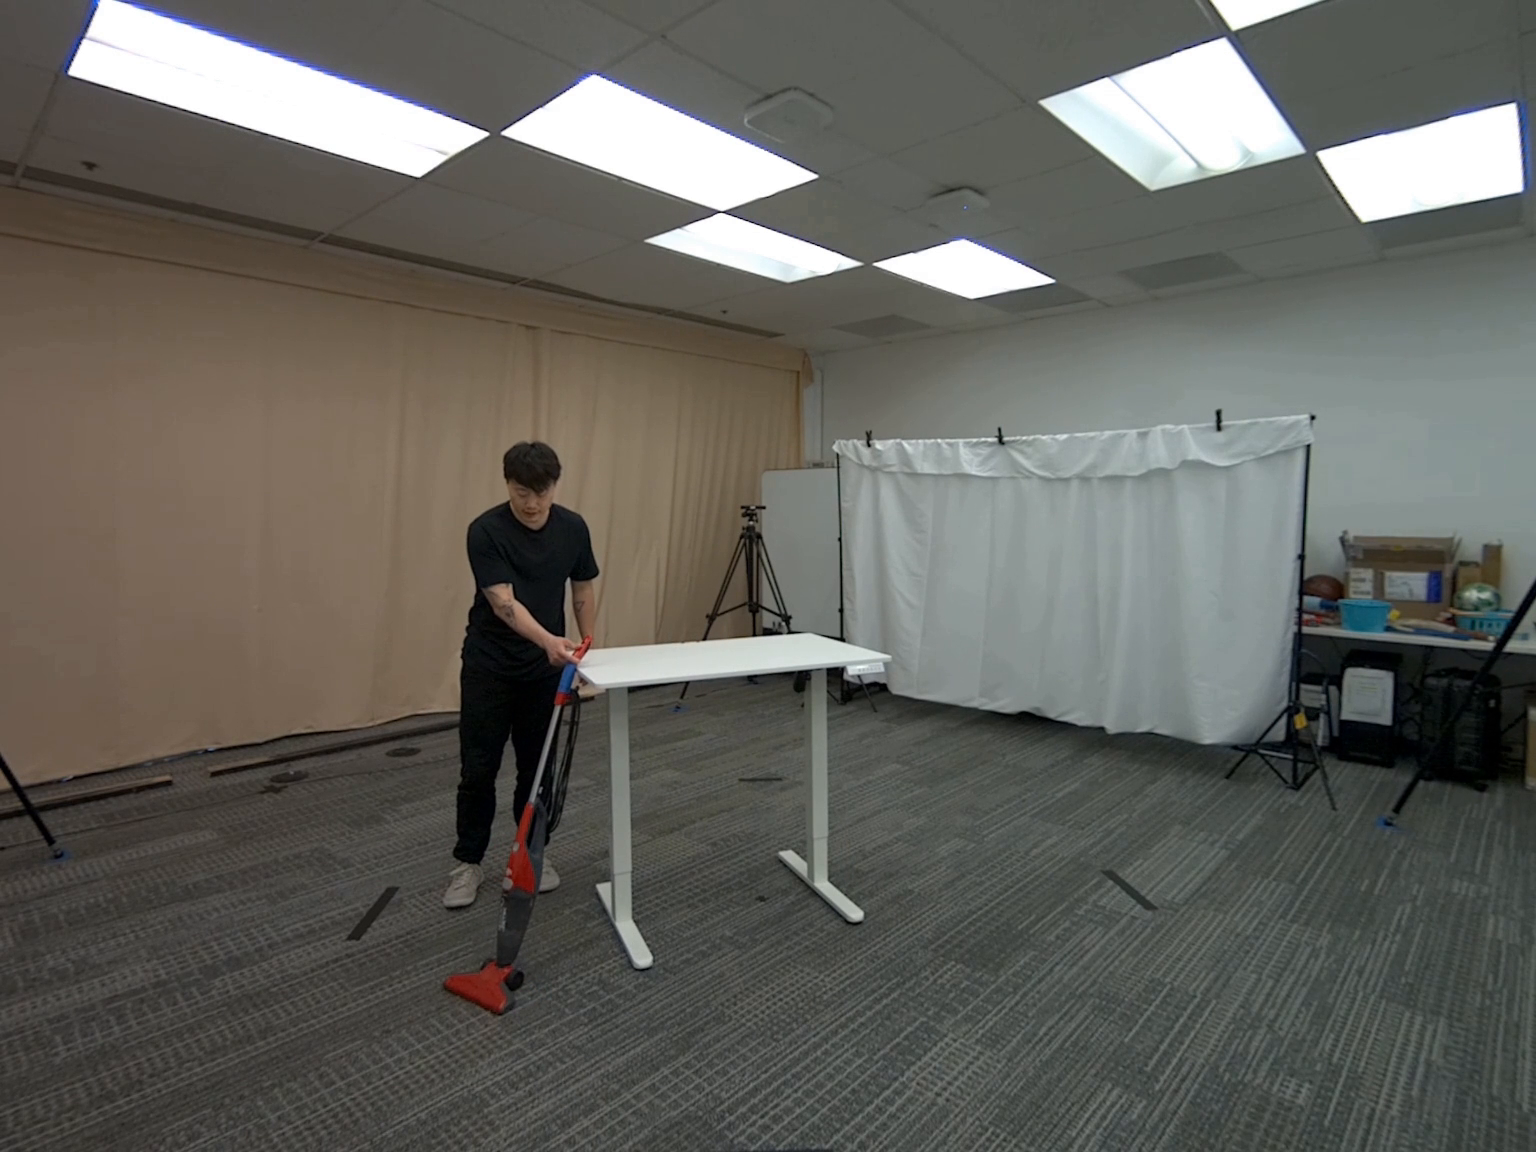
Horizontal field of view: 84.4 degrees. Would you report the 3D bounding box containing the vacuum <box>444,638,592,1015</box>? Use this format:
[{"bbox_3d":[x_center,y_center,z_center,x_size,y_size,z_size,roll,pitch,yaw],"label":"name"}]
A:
[{"bbox_3d":[-0.701,0.706,2.581,0.260,1.056,0.139,2,-20,30],"label":"vacuum"}]
